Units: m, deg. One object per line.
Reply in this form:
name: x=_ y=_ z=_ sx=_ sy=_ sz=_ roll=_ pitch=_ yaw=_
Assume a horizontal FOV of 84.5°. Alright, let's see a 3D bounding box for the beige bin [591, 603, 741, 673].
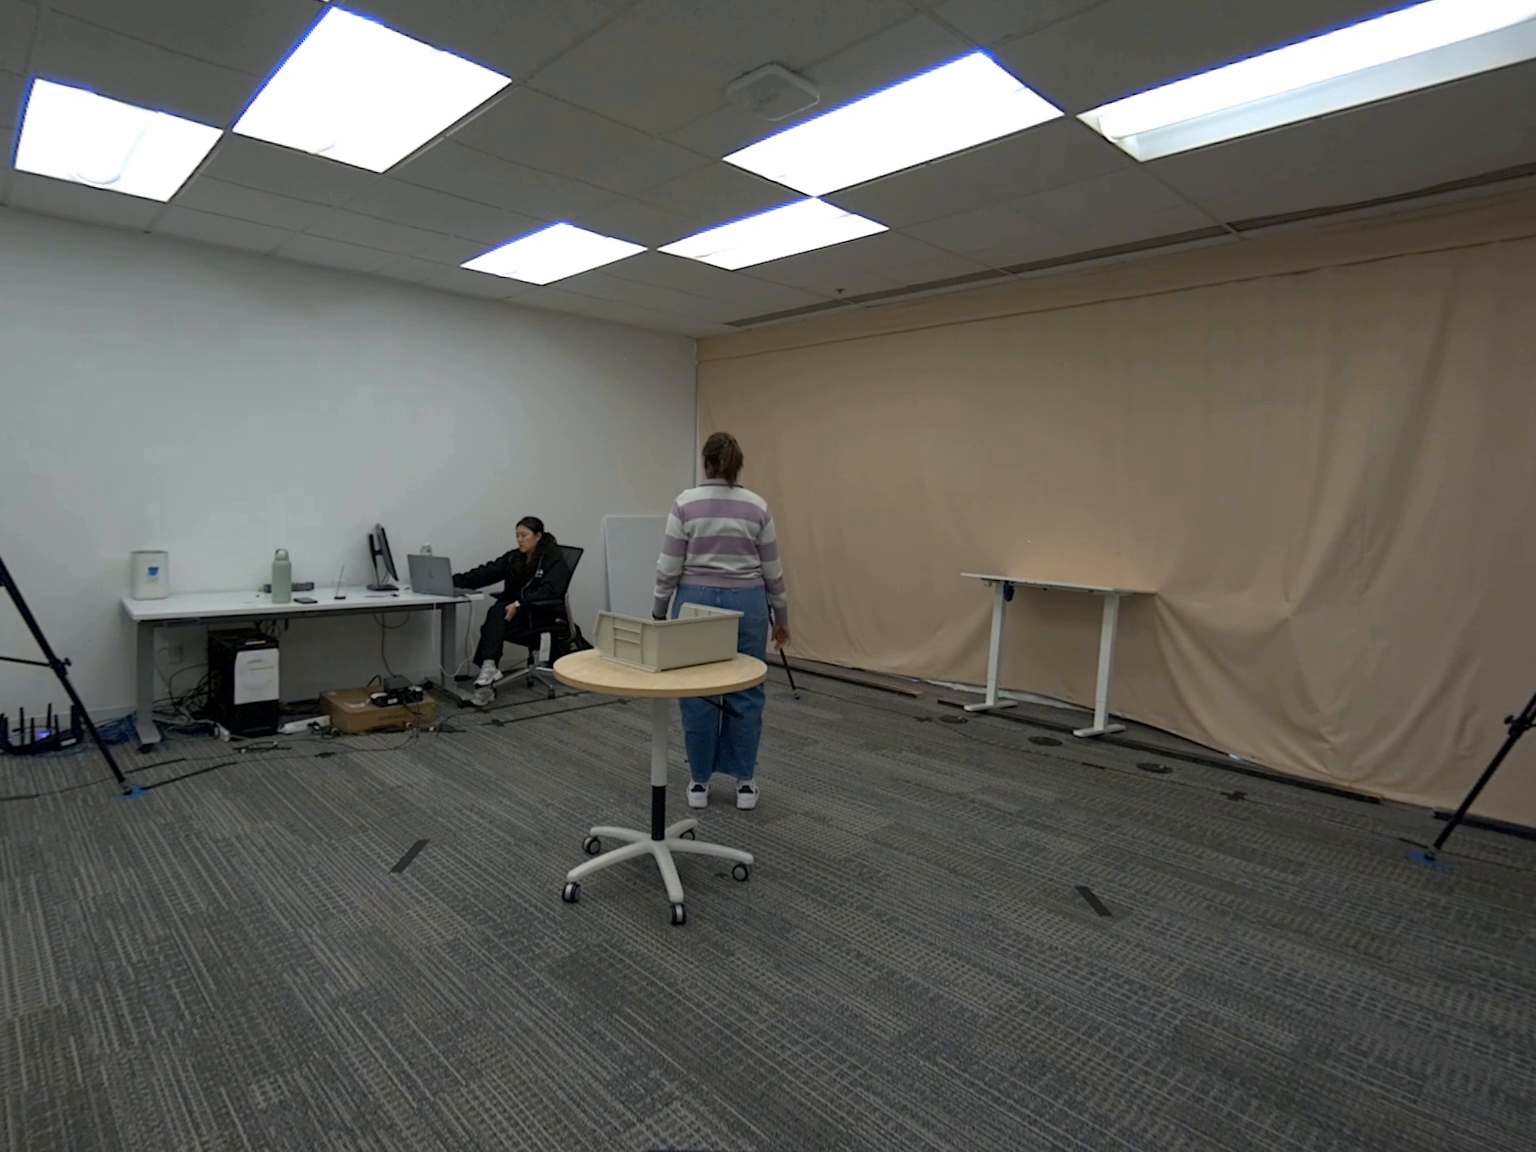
beige bin: x=-0.385 y=0.223 z=3.144 sx=0.412 sy=0.188 sz=0.387 roll=-3 pitch=8 yaw=-44
